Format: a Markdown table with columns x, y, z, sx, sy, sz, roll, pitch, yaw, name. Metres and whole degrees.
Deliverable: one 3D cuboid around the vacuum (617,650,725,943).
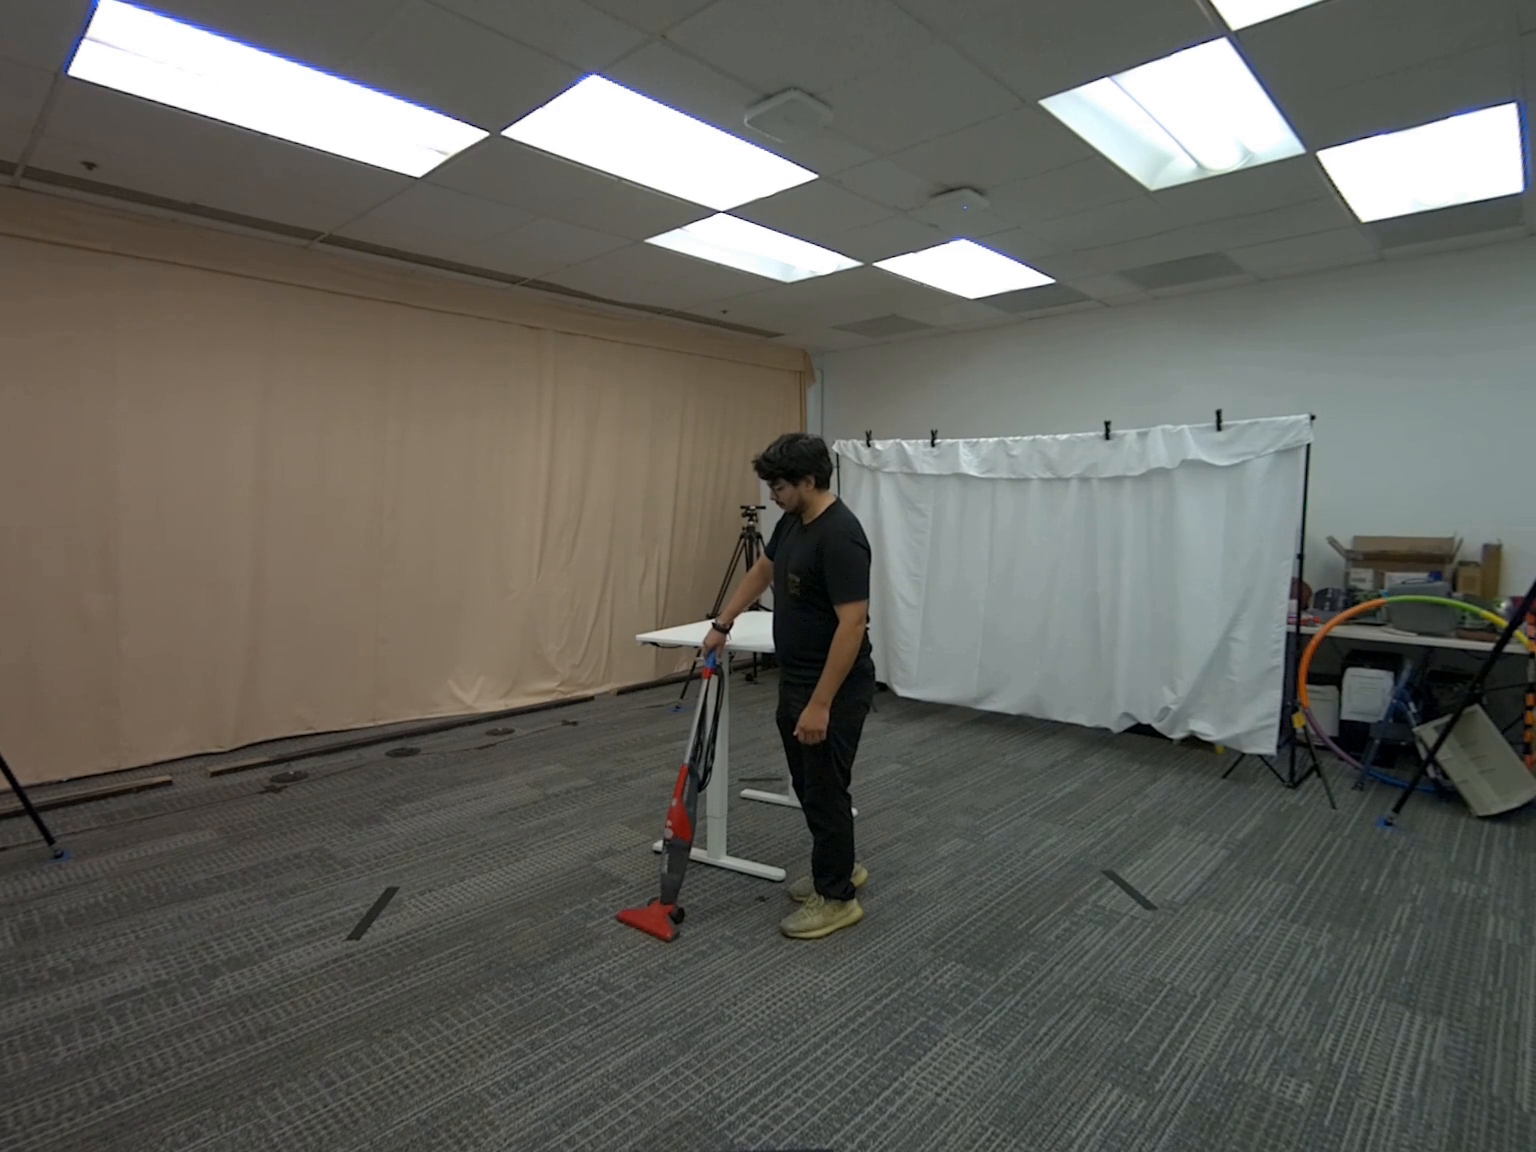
| x | y | z | sx | sy | sz | roll | pitch | yaw | name |
| --- | --- | --- | --- | --- | --- | --- | --- | --- | --- |
| -0.263 | 0.669 | 2.930 | 0.261 | 1.054 | 0.139 | 0 | -18 | 42 | vacuum |
